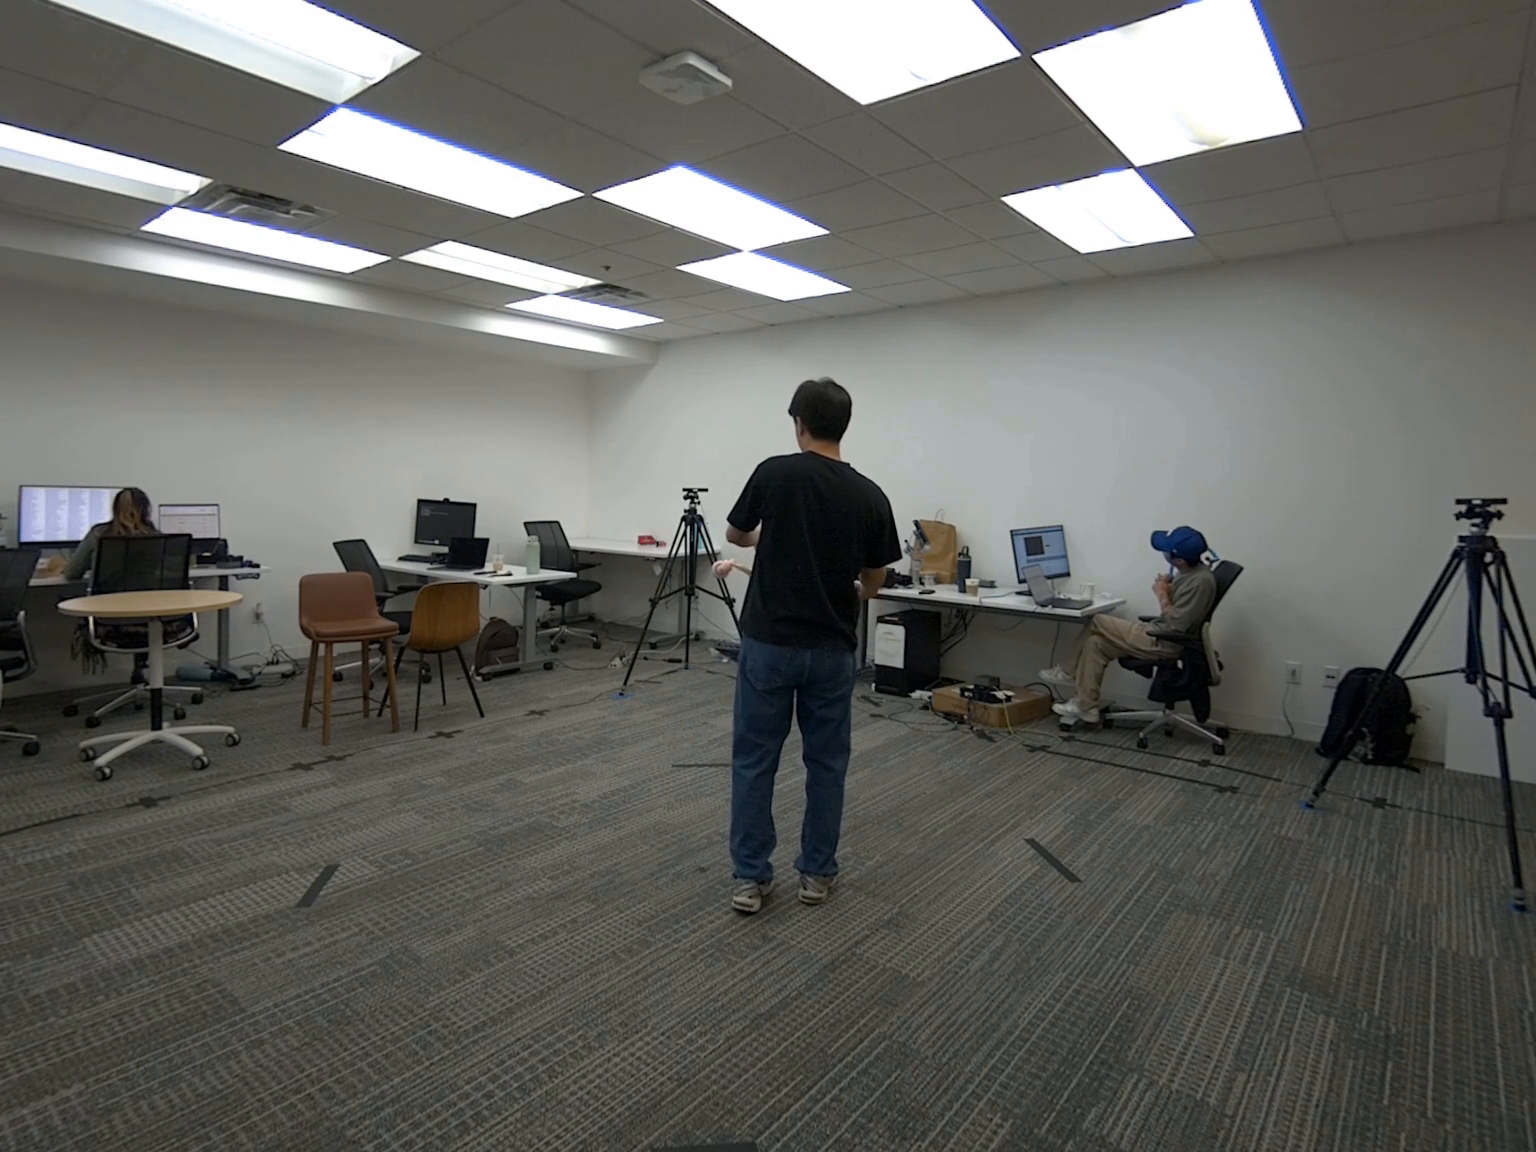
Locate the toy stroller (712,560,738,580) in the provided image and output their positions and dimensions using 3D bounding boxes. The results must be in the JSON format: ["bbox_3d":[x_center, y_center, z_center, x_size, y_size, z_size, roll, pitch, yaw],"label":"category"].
[{"bbox_3d":[0.064,-0.003,3.328,0.533,0.341,0.283,-25,3,-6],"label":"toy stroller"}]
